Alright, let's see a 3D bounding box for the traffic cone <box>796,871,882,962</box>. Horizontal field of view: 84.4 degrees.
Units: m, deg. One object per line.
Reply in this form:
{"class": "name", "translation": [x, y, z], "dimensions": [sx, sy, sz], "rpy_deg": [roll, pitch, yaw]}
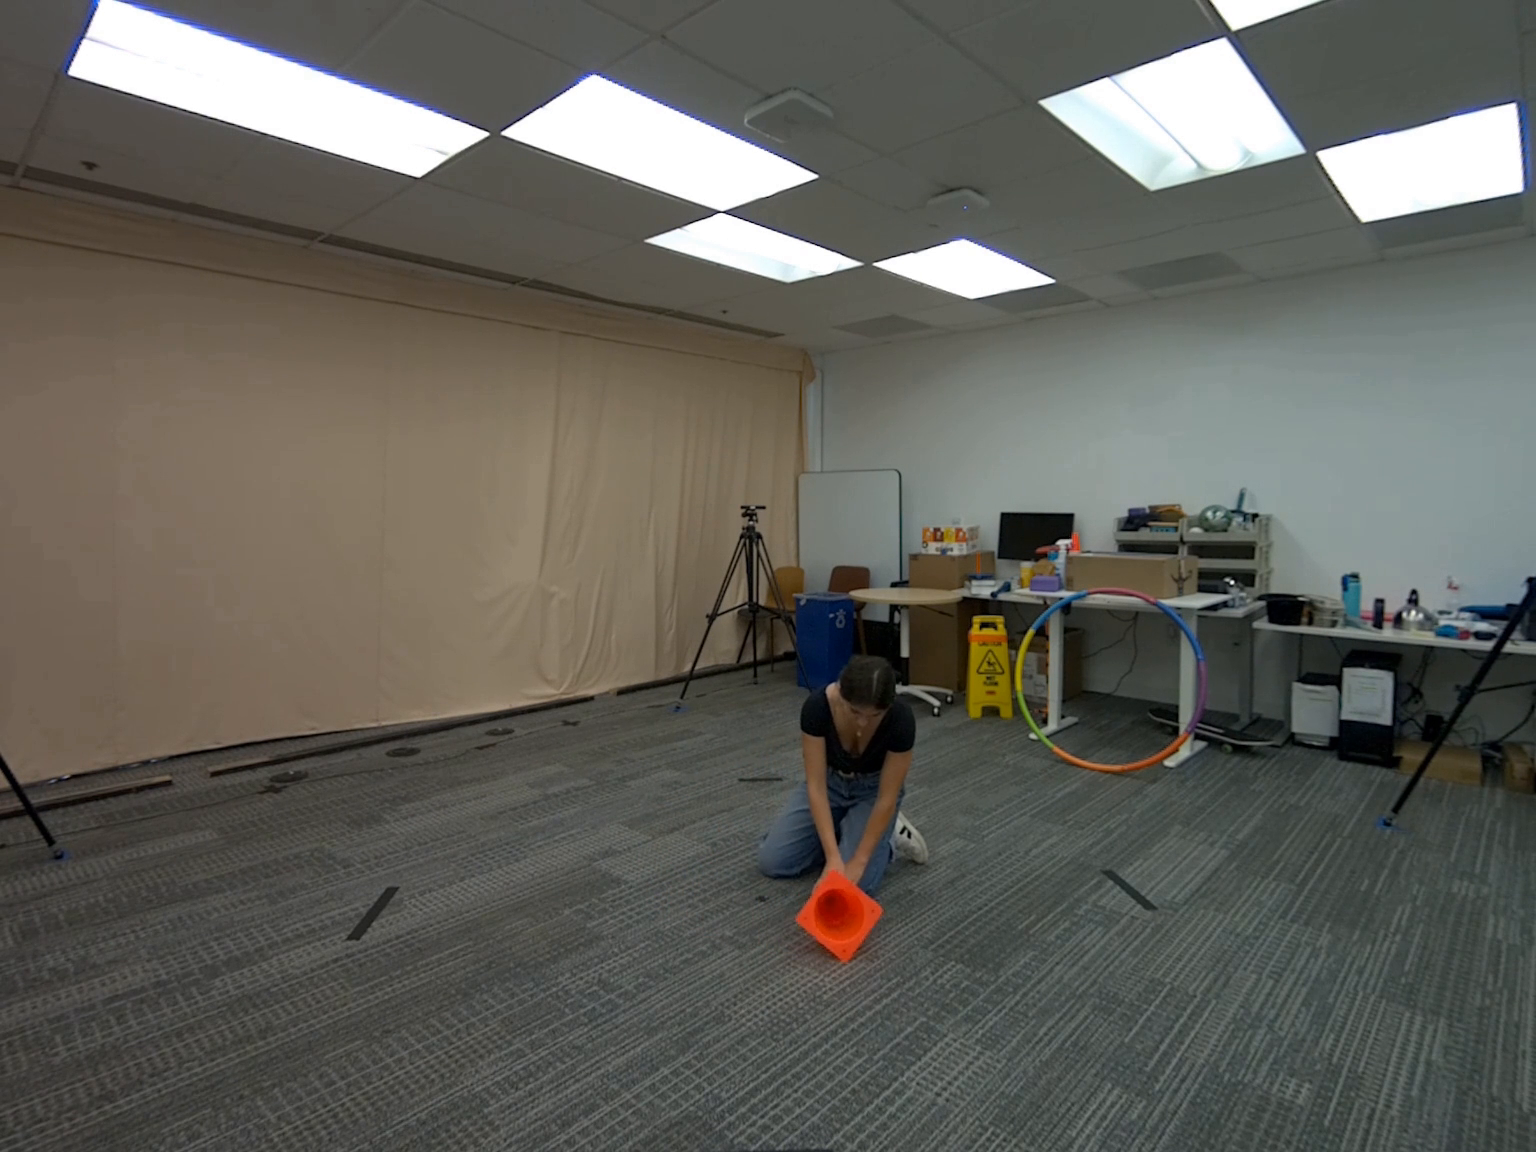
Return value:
{"class": "traffic cone", "translation": [0.227, 1.103, 2.783], "dimensions": [0.206, 0.203, 0.381], "rpy_deg": [29, -14, 4]}
